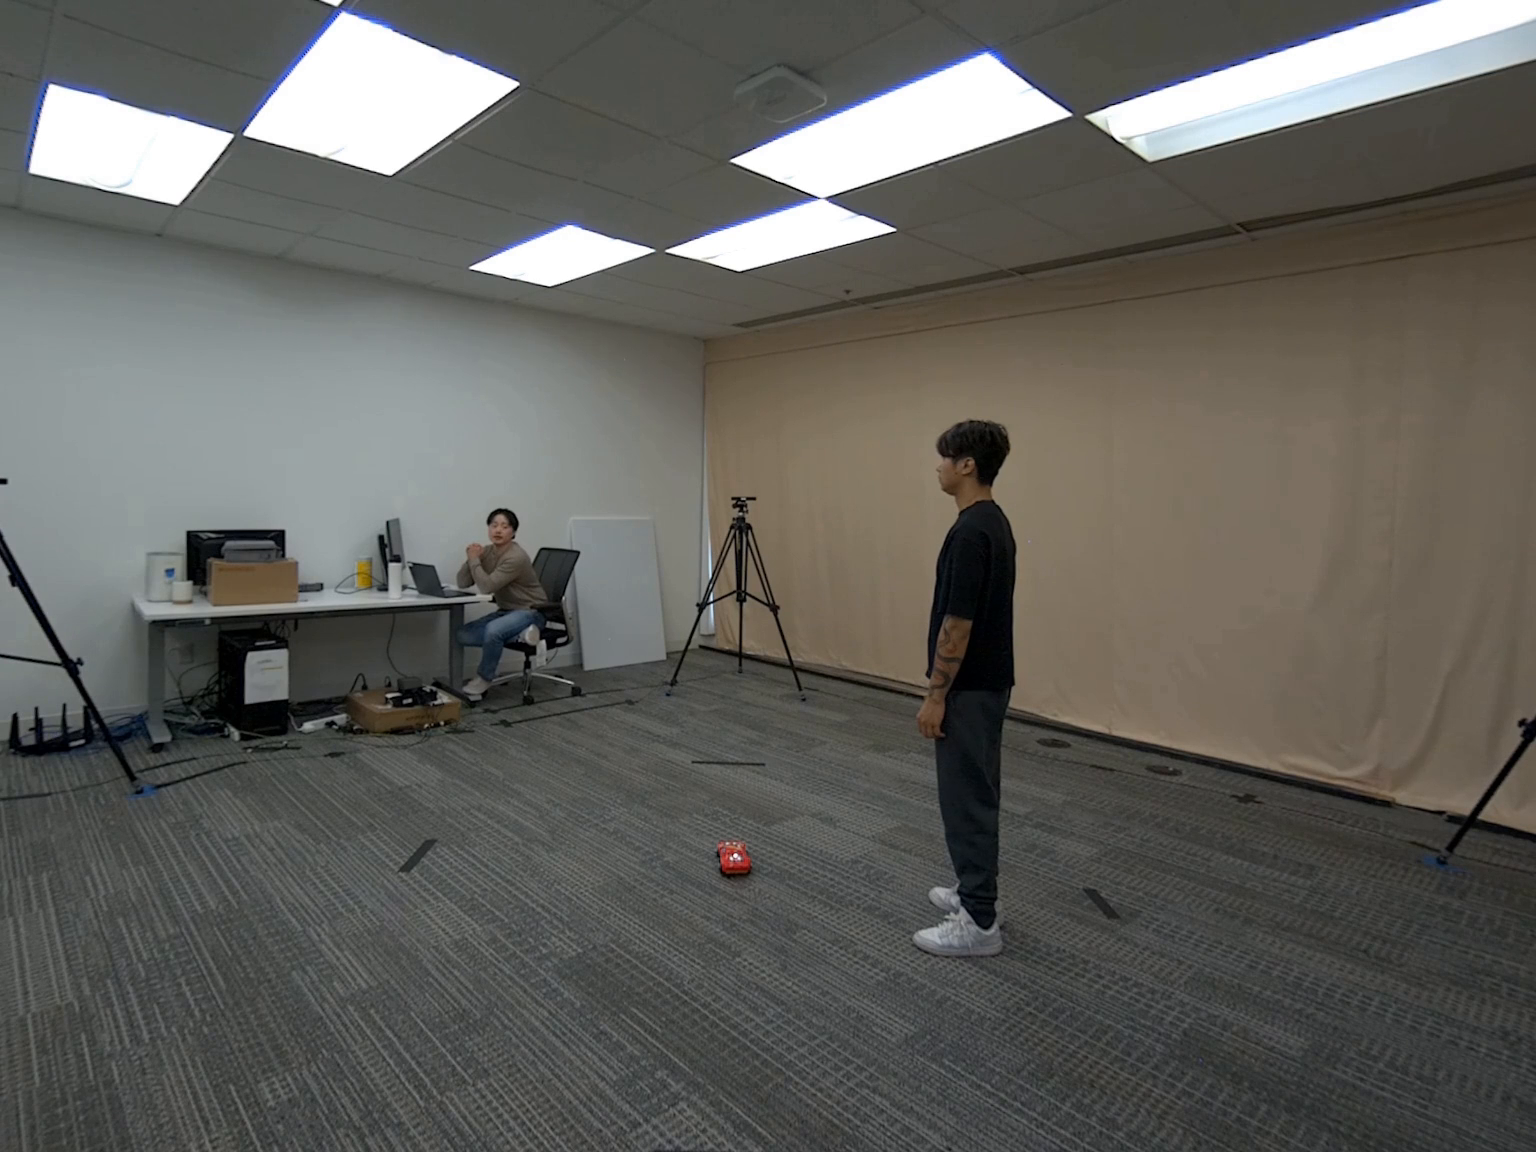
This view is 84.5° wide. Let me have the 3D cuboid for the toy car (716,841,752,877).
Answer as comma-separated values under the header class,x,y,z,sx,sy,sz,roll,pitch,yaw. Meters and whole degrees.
class,x,y,z,sx,sy,sz,roll,pitch,yaw
toy car,-0.135,1.069,3.181,0.130,0.084,0.254,0,-7,-7
